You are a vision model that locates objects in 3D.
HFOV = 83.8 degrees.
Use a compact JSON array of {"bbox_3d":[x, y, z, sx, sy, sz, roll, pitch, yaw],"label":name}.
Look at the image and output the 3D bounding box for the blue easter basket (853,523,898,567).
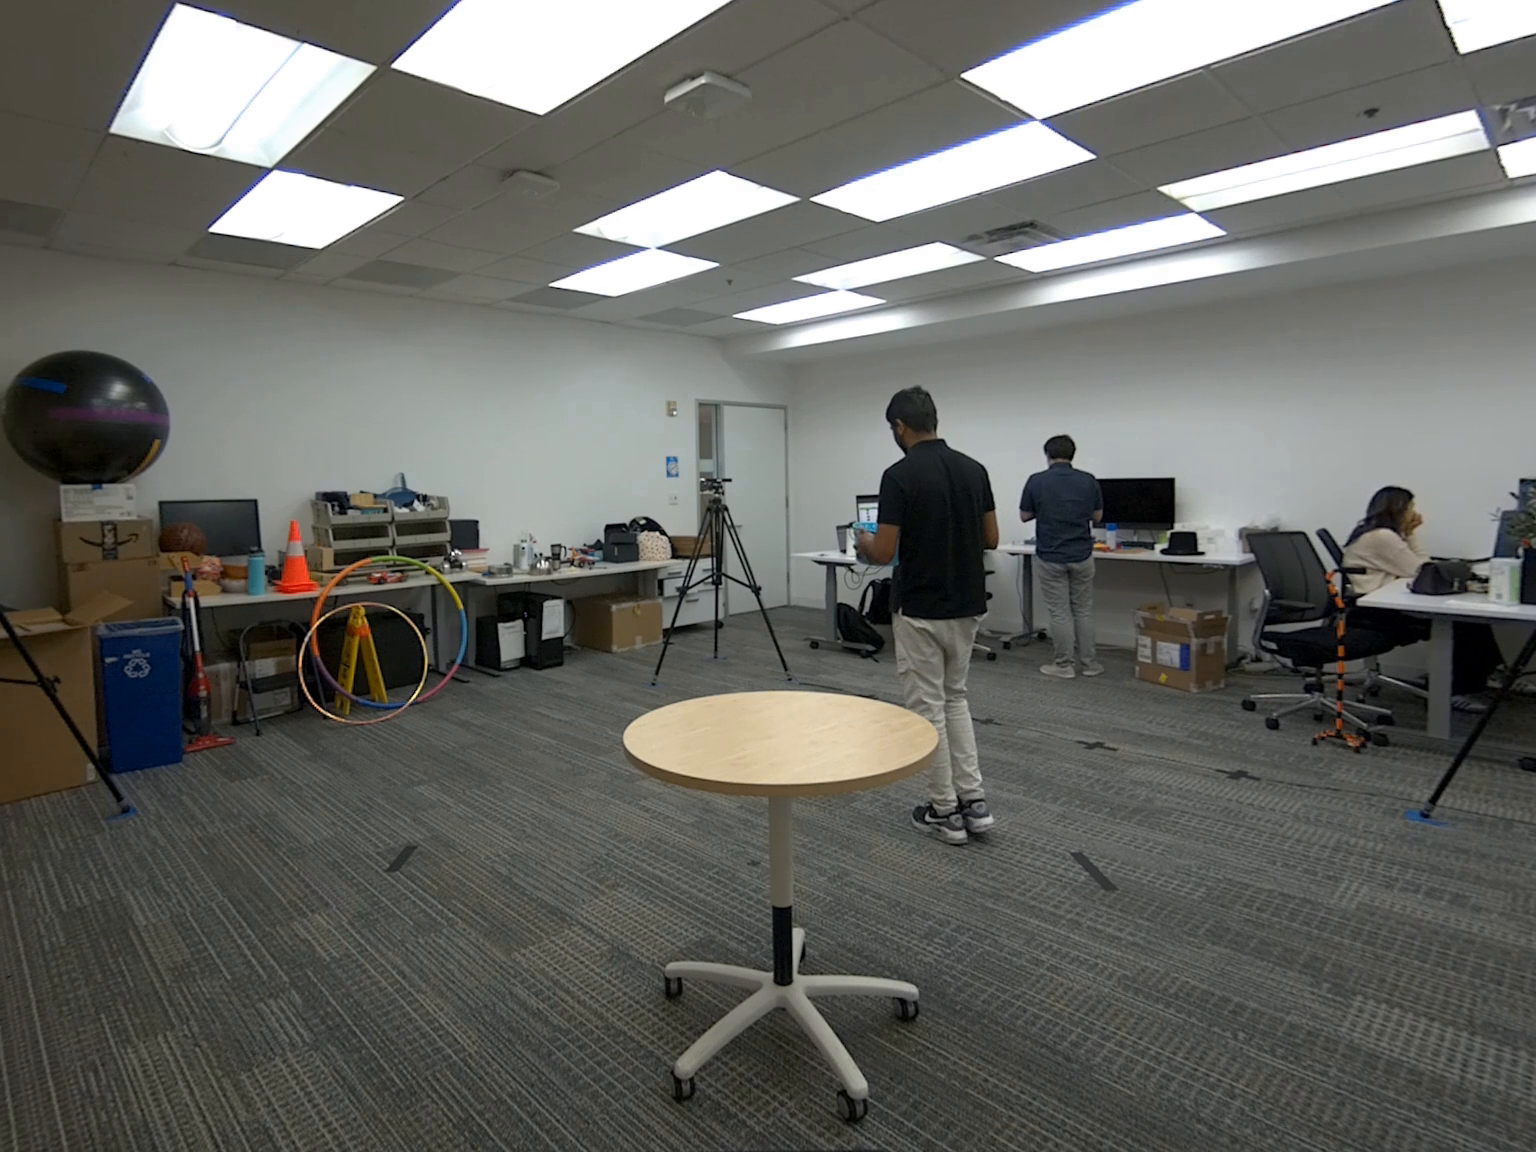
[{"bbox_3d":[0.492,-0.132,3.645,0.243,0.154,0.246,2,12,-2],"label":"blue easter basket"}]
